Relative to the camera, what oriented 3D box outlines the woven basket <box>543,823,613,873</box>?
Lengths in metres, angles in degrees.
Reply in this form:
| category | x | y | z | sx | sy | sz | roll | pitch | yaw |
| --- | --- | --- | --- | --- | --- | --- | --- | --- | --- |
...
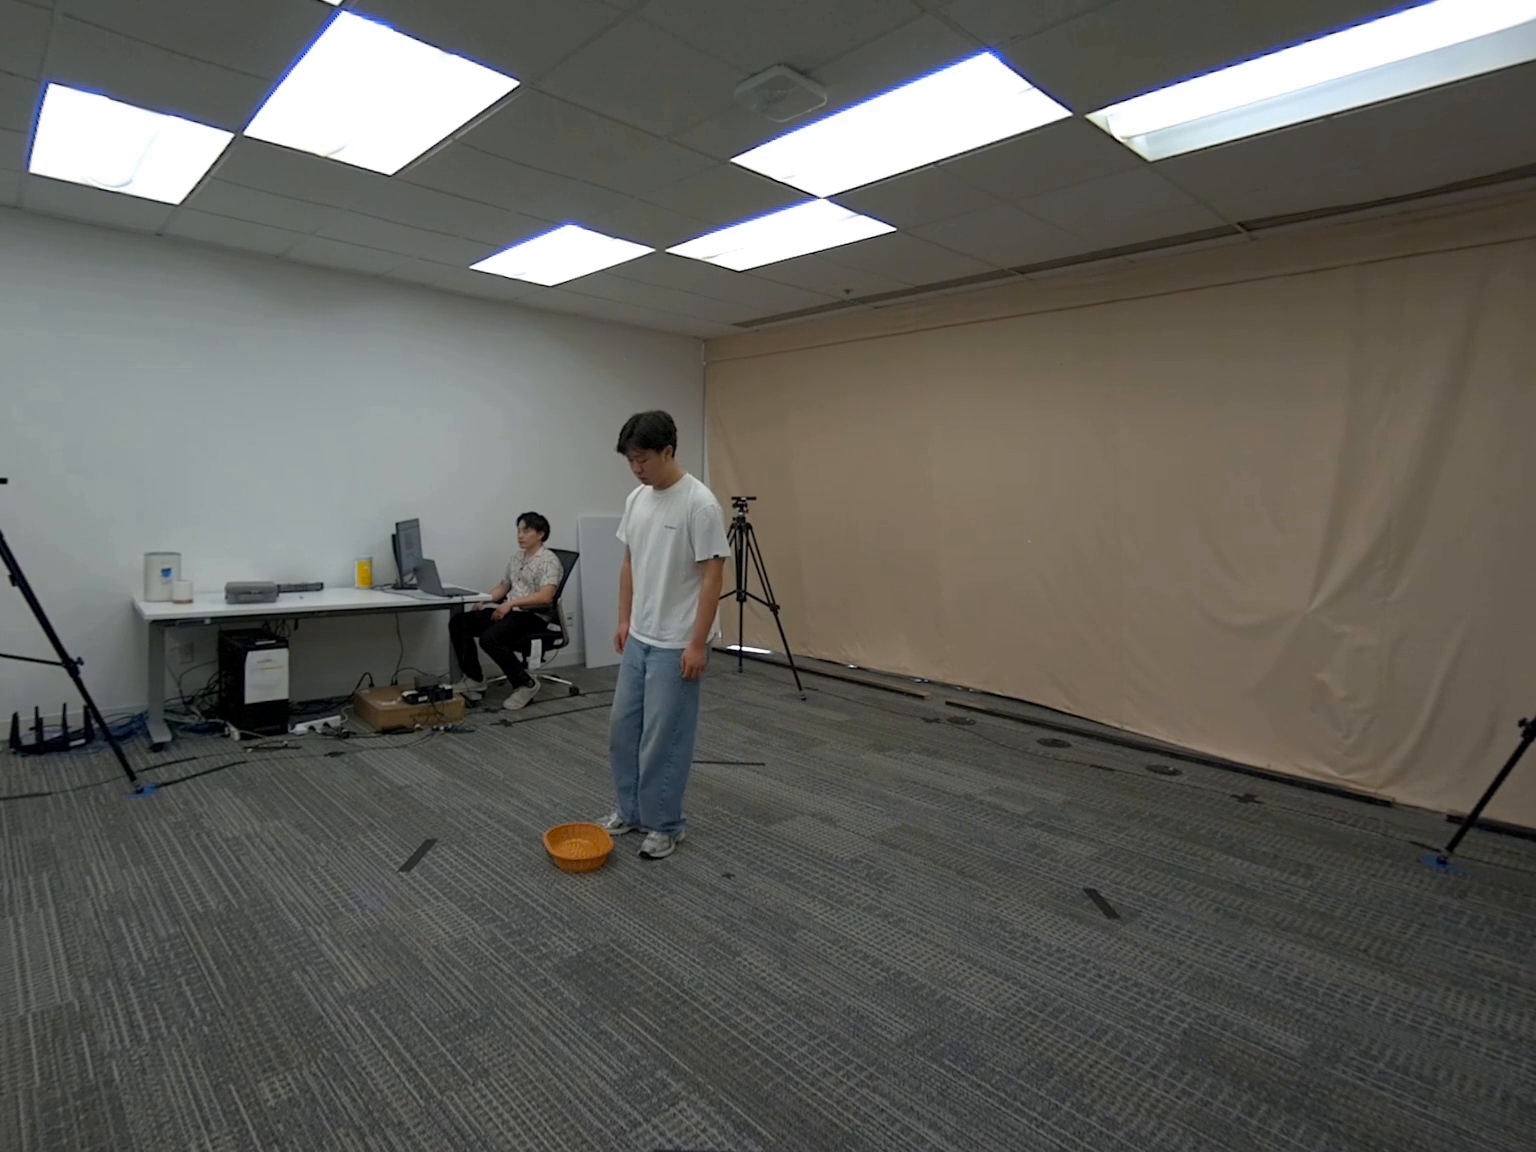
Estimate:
| category | x | y | z | sx | sy | sz | roll | pitch | yaw |
| --- | --- | --- | --- | --- | --- | --- | --- | --- | --- |
| woven basket | -0.732 | 1.039 | 3.232 | 0.248 | 0.073 | 0.357 | 0 | 6 | -22 |
